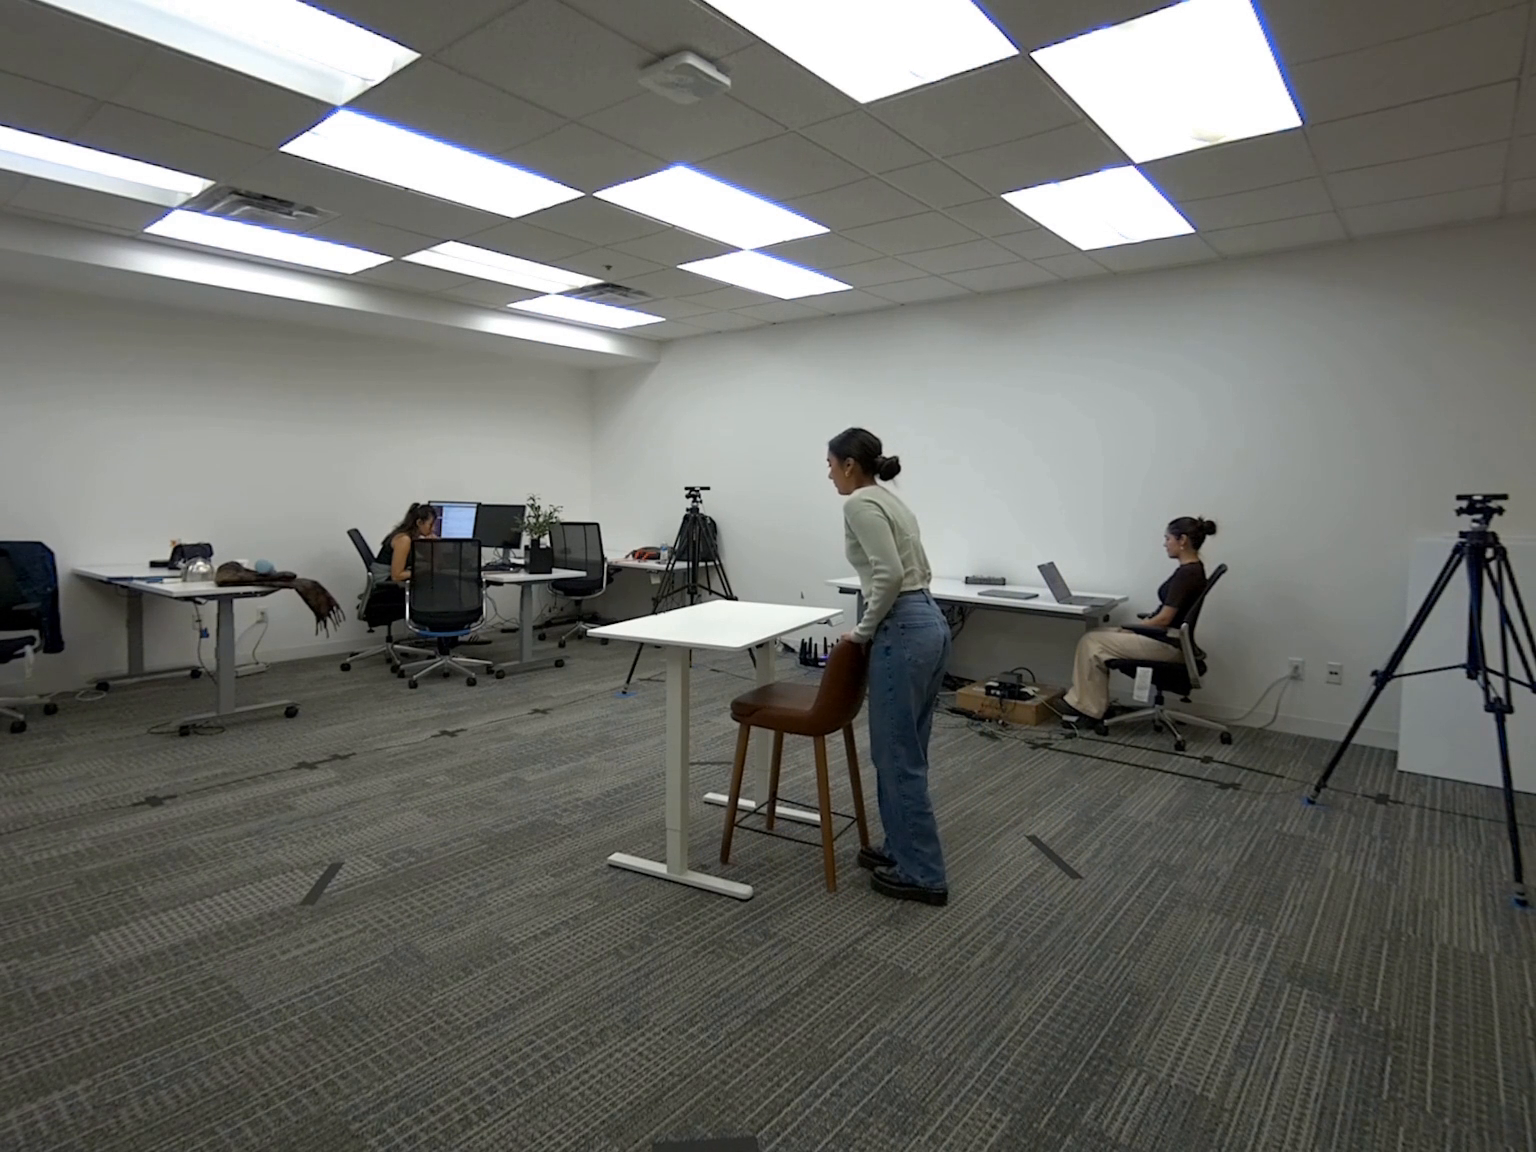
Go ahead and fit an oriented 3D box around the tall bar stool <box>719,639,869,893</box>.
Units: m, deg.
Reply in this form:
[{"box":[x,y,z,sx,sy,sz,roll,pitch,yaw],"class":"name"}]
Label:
[{"box":[0.123,0.631,3.185,0.481,0.886,0.445,5,5,28],"class":"tall bar stool"}]
